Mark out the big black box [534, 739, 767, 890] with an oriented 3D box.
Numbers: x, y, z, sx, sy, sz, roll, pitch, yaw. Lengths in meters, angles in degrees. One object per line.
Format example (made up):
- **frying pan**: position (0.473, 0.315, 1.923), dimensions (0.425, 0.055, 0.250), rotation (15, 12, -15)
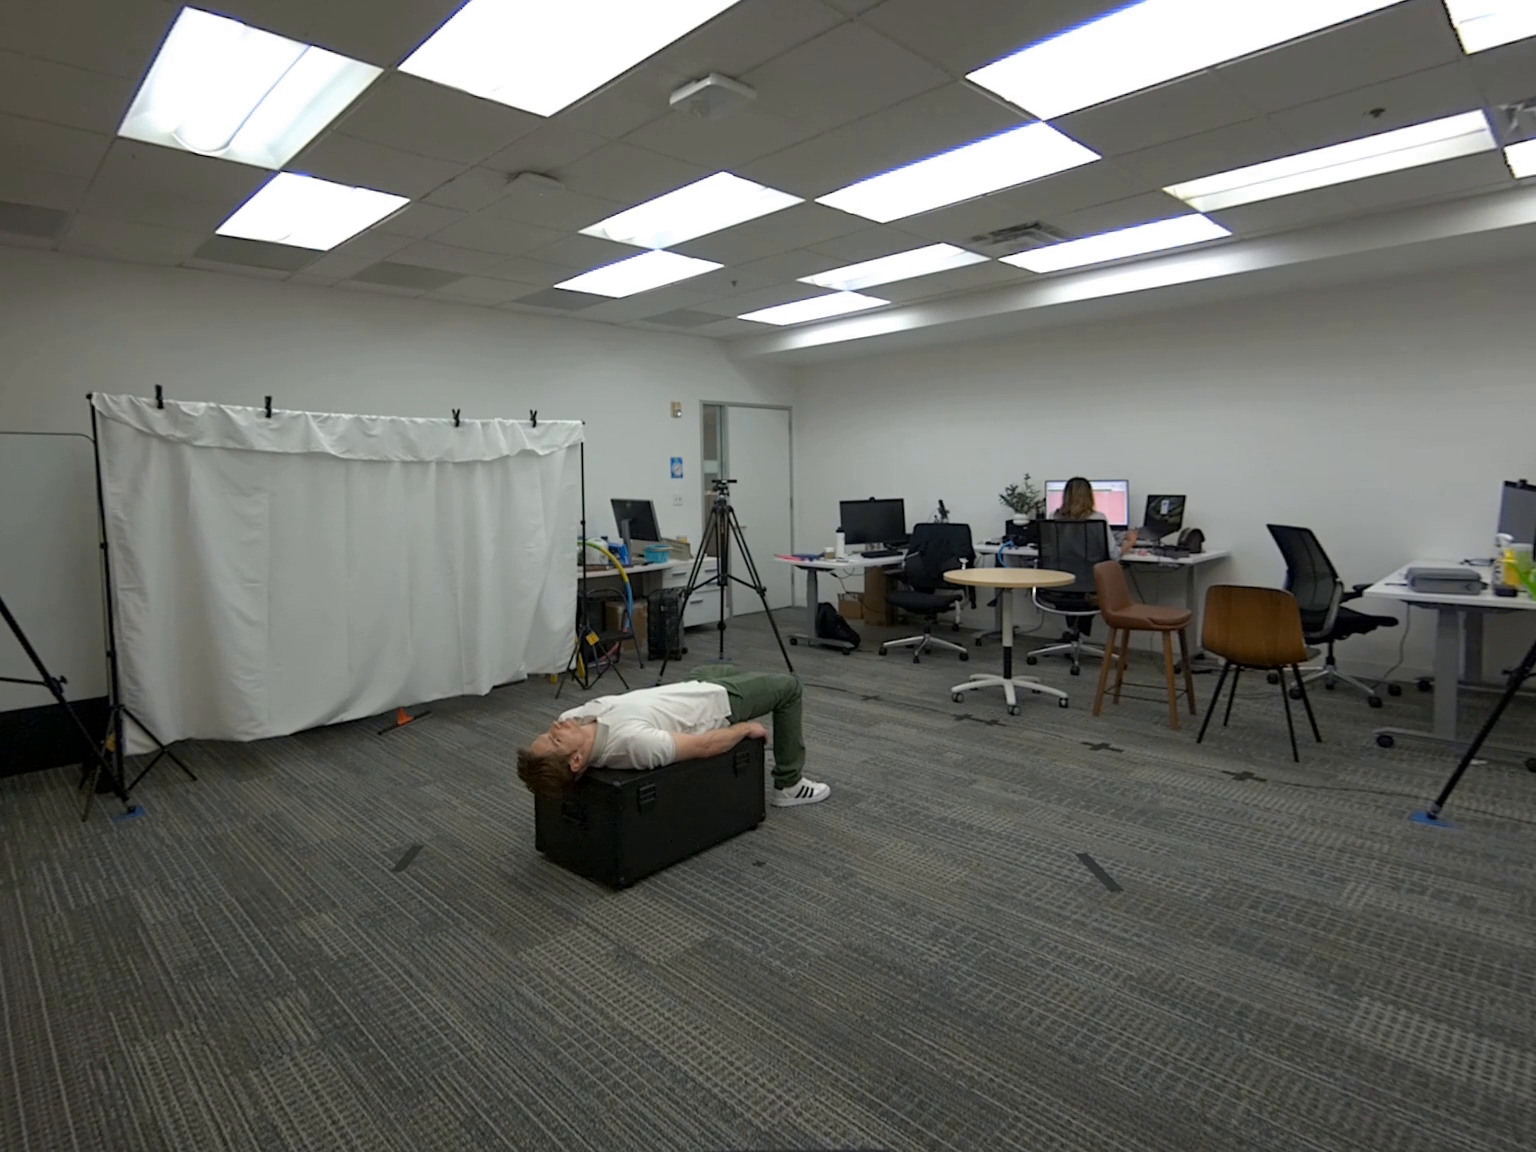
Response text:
- **big black box**: position (-0.414, 0.839, 3.345), dimensions (0.539, 0.384, 0.846), rotation (3, 6, 41)
